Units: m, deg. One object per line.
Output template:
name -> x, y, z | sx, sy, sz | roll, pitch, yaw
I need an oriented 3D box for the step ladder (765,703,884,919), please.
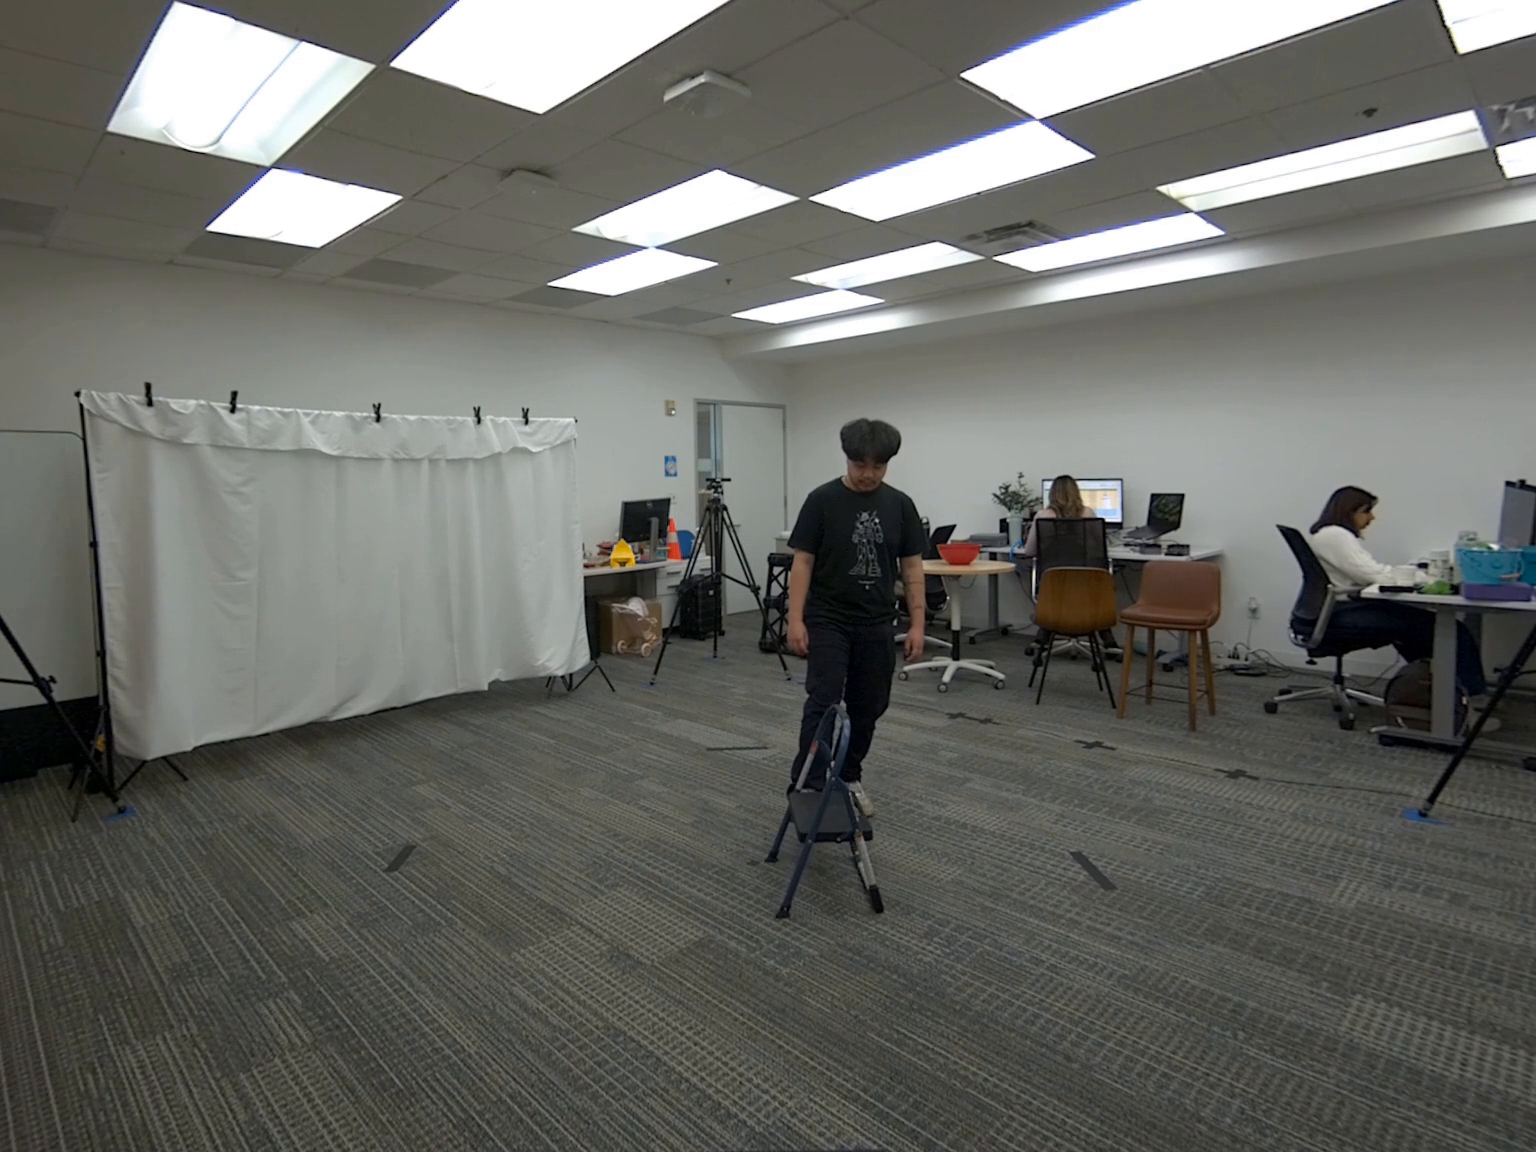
step ladder -> 0.182, 0.760, 2.908 | 0.348, 0.604, 0.434 | -2, 5, -4
